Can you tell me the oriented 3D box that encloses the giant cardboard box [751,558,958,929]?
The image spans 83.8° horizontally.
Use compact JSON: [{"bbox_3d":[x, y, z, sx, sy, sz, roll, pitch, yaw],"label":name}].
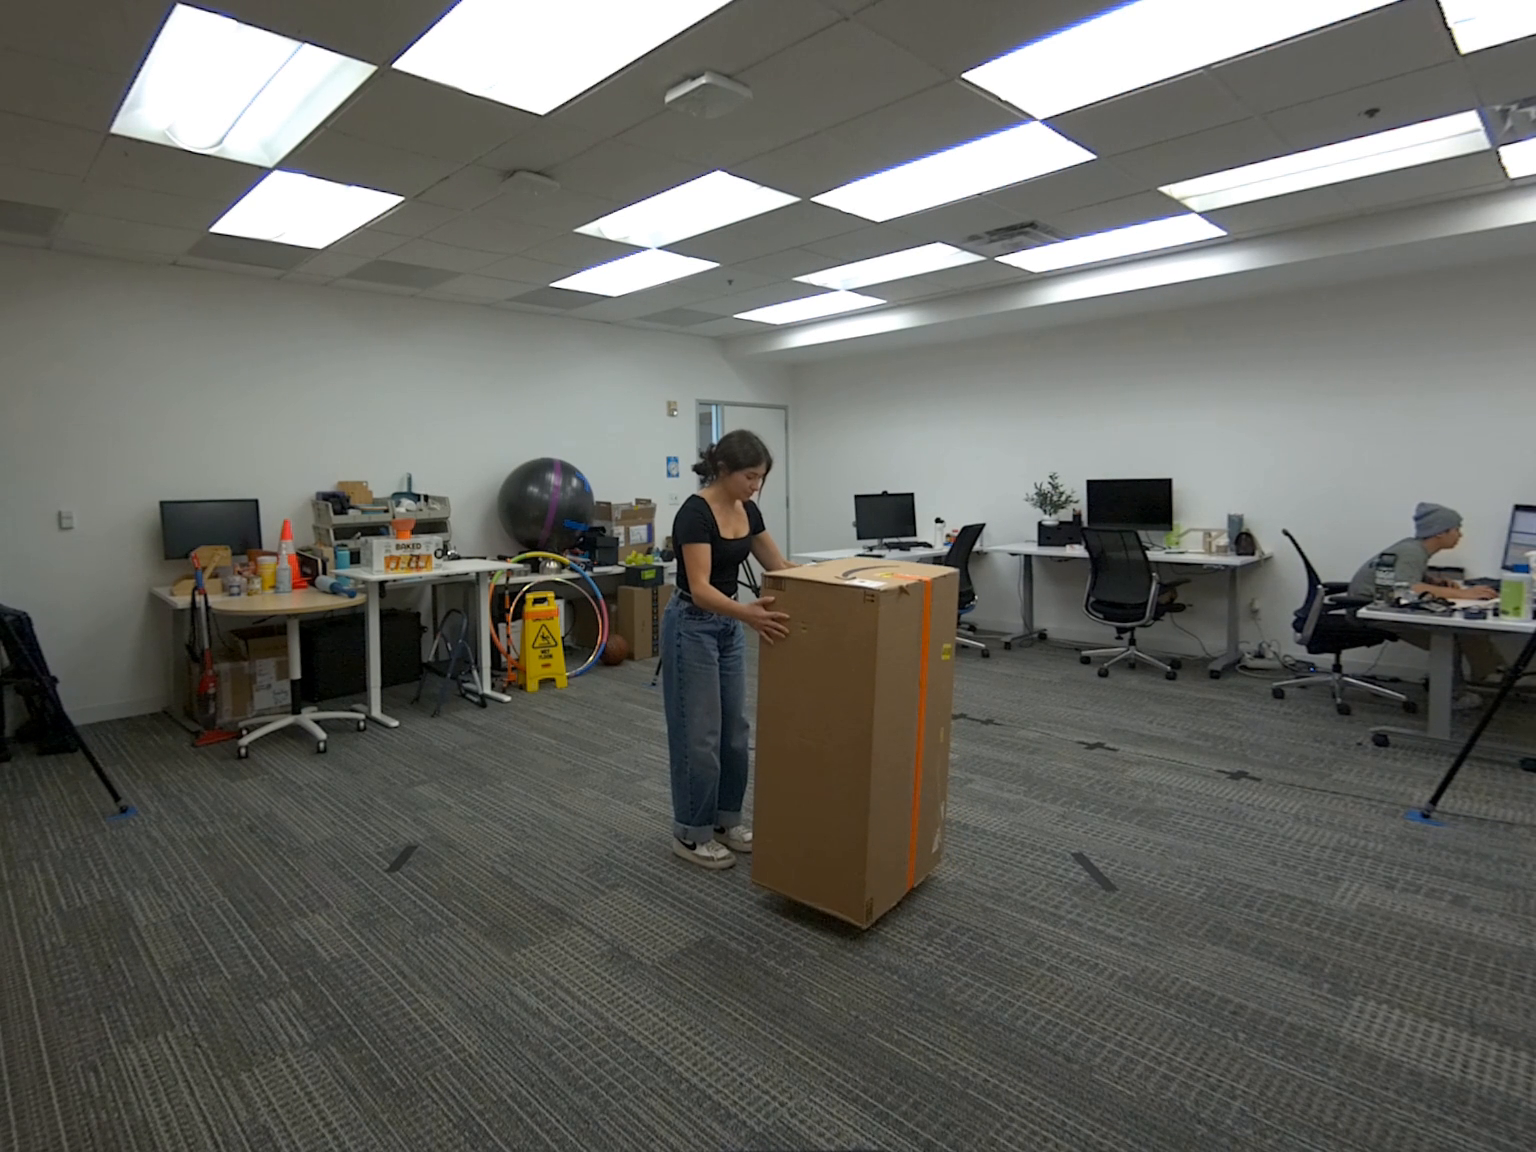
[{"bbox_3d":[0.299,0.489,2.814,0.439,1.020,0.563,6,8,36],"label":"giant cardboard box"}]
